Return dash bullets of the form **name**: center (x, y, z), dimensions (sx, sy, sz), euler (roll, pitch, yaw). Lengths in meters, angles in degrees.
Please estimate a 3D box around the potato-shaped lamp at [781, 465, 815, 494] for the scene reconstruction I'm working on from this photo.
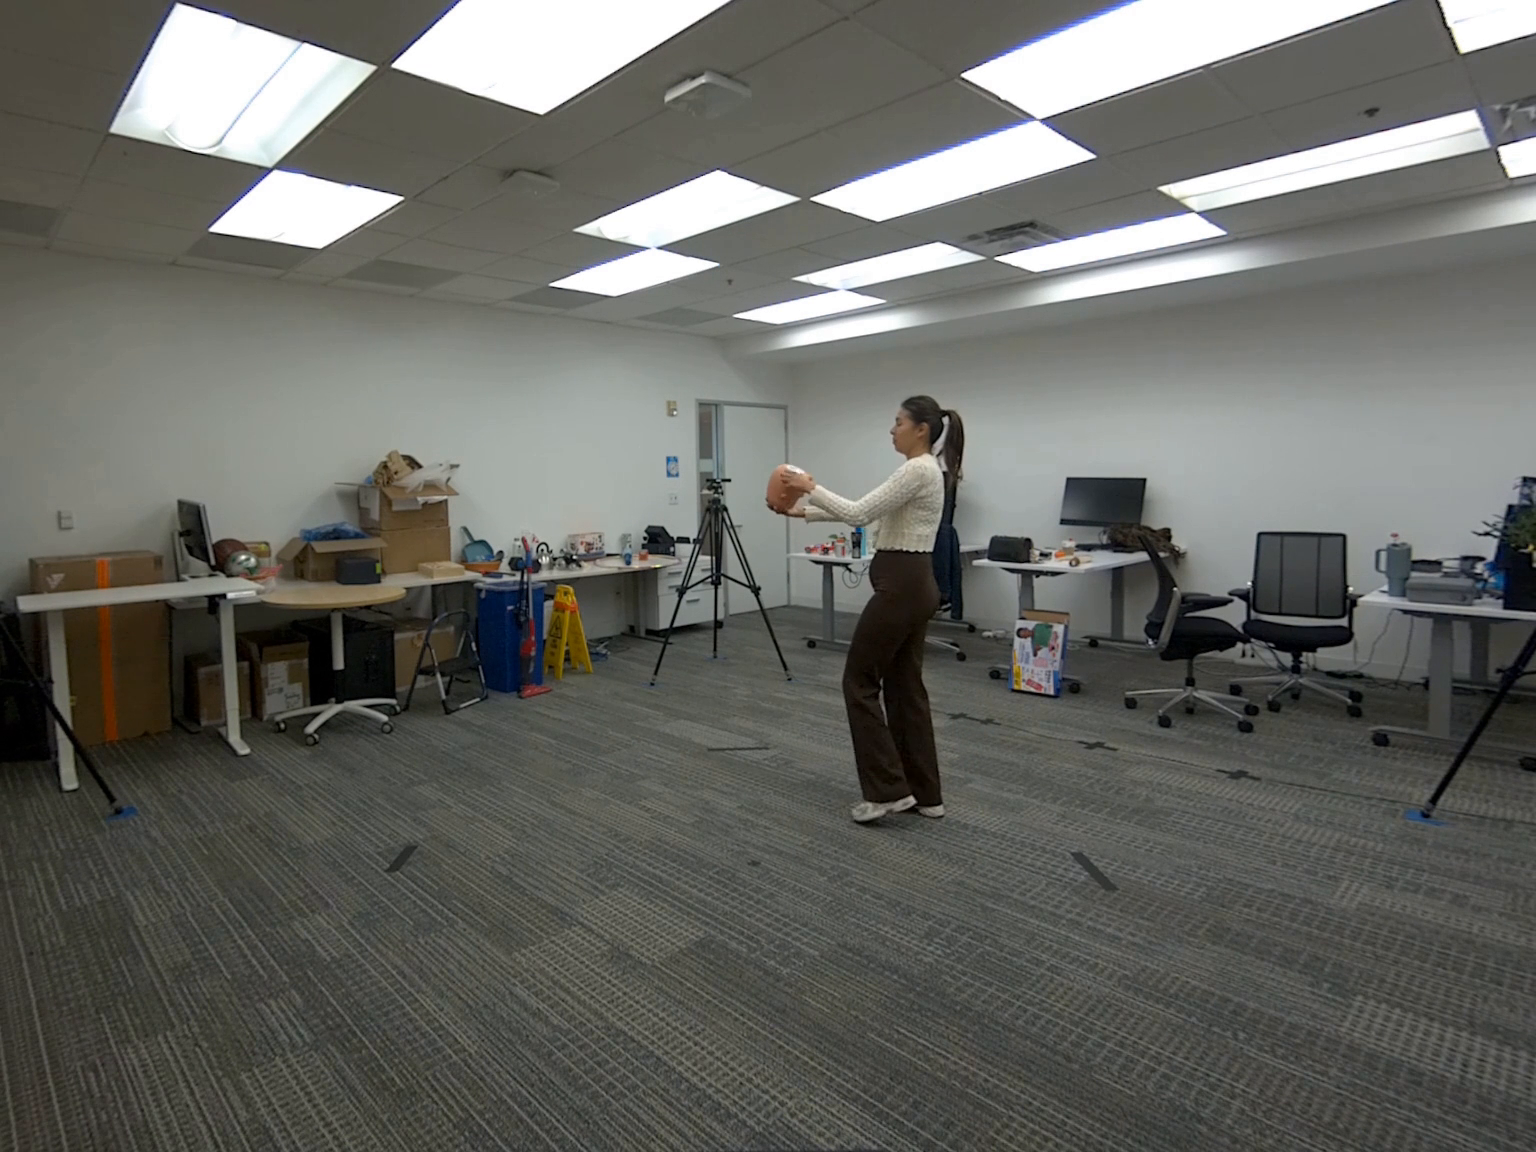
- **potato-shaped lamp**: center (0.095, -0.384, 3.684), dimensions (0.167, 0.195, 0.171), euler (-4, 36, -34)
